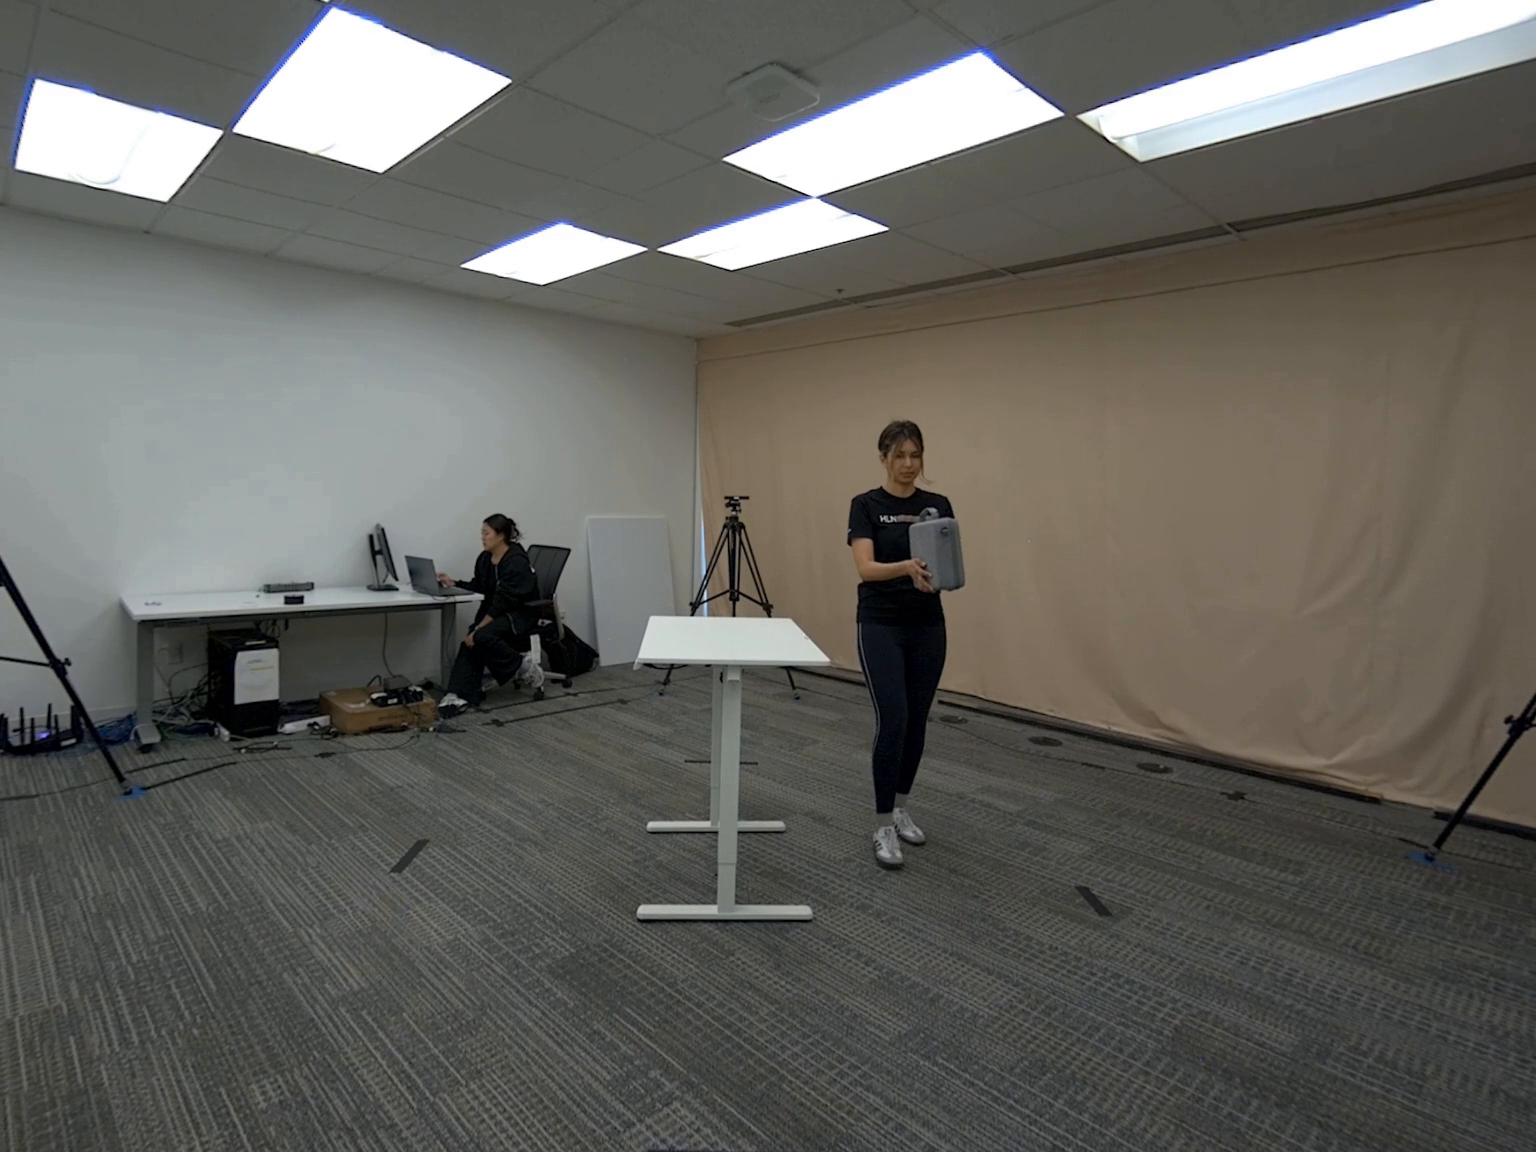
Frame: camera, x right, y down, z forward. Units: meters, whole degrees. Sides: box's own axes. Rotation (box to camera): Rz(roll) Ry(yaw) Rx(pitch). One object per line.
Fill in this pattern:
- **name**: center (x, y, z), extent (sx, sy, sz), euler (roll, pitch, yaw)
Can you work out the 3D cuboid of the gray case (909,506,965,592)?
- **gray case**: center (0.600, -0.082, 3.042), extent (0.104, 0.261, 0.258), euler (-6, -2, -8)
